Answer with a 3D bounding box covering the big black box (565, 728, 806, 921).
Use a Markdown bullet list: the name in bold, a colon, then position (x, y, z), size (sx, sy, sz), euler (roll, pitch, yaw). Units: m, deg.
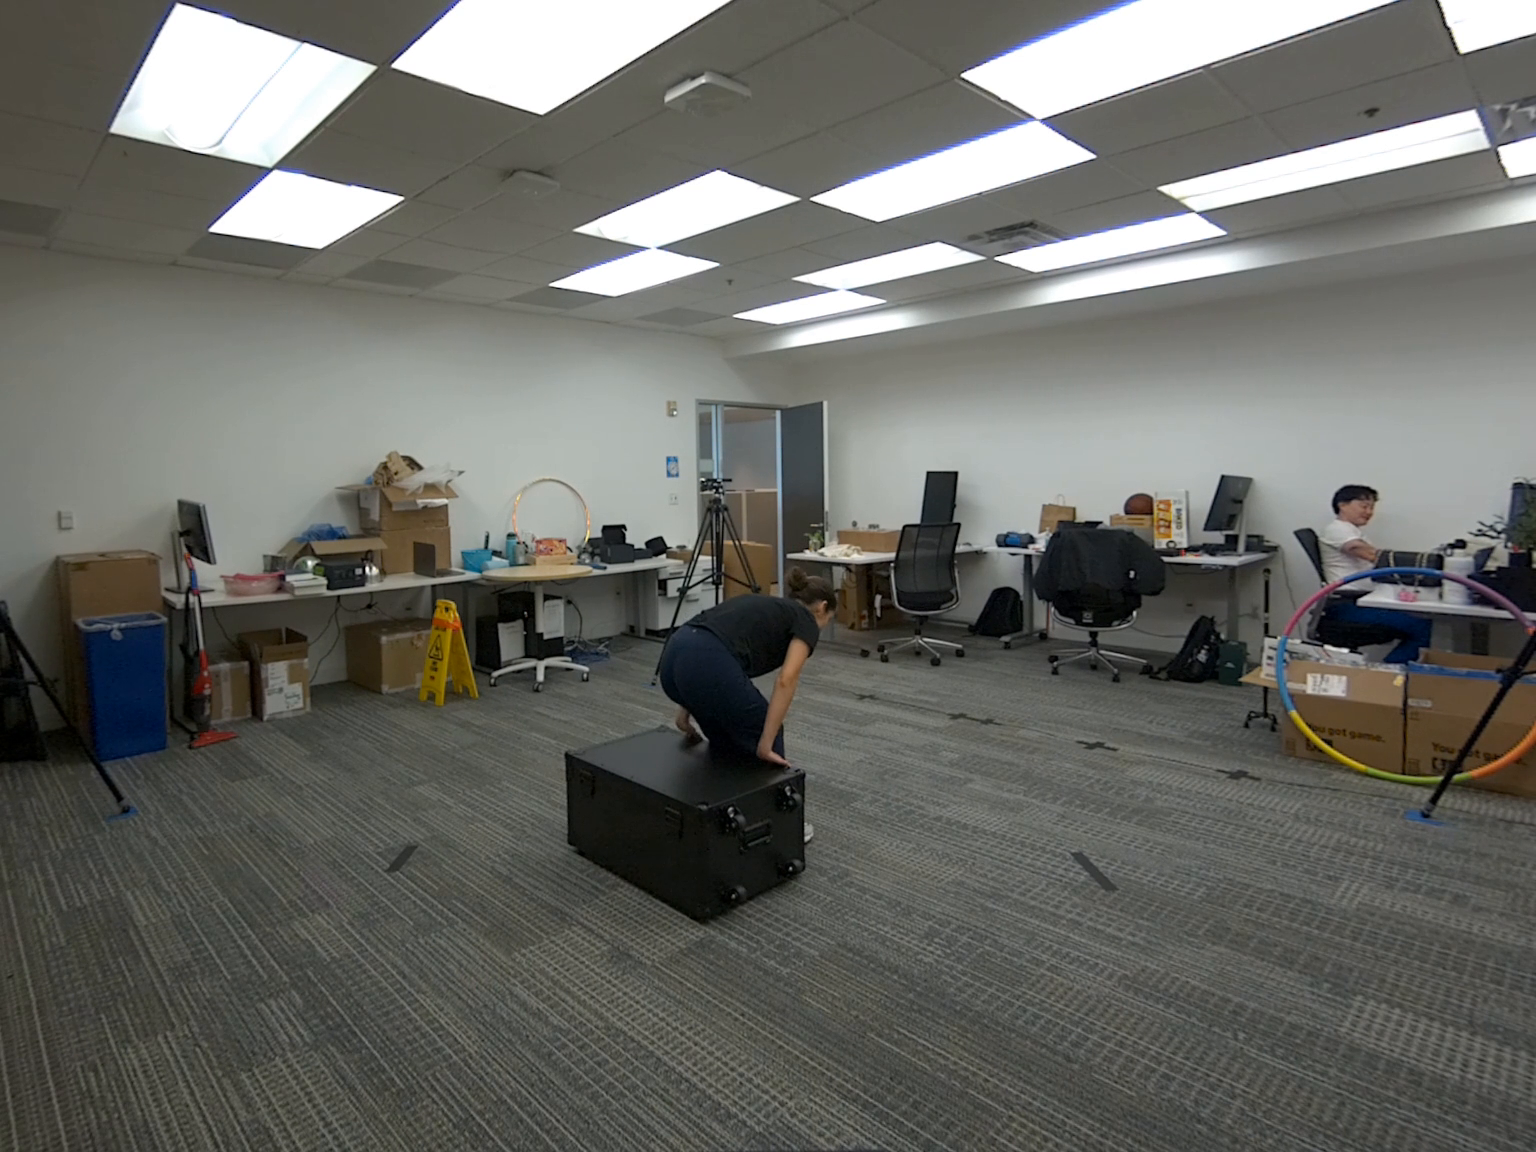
- **big black box**: position (-0.298, 0.860, 3.092), size (0.508, 0.394, 0.888), euler (-7, 8, -44)
